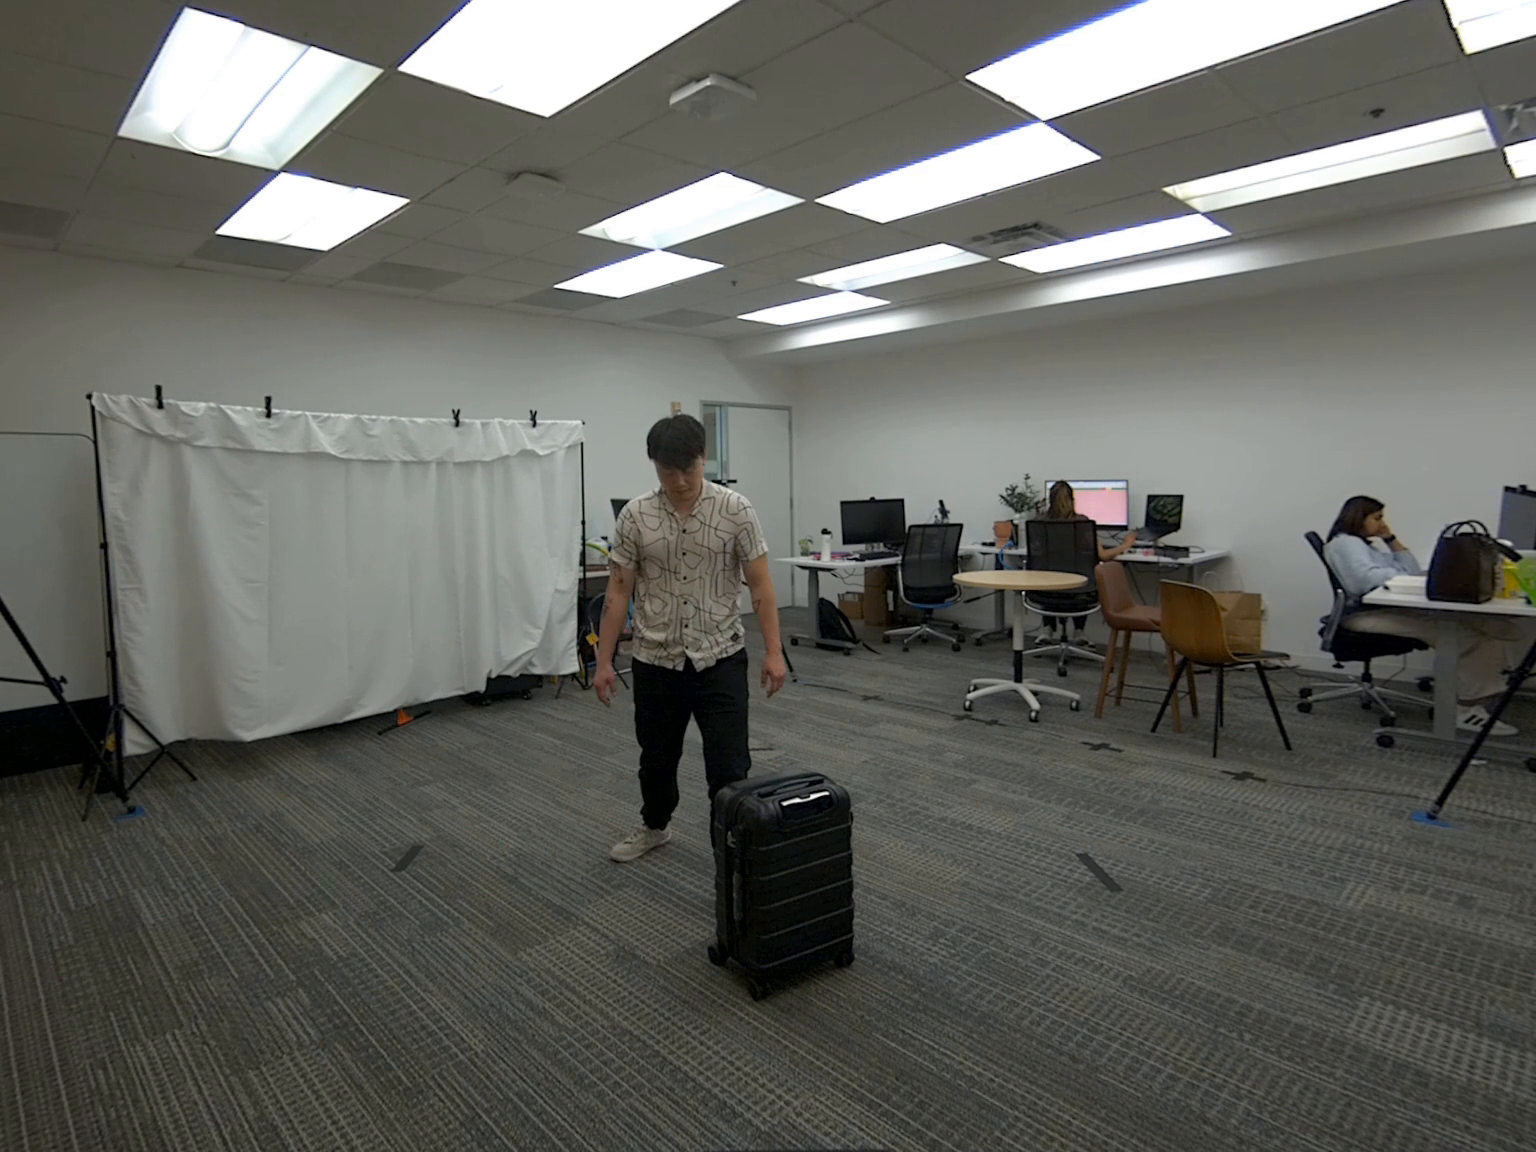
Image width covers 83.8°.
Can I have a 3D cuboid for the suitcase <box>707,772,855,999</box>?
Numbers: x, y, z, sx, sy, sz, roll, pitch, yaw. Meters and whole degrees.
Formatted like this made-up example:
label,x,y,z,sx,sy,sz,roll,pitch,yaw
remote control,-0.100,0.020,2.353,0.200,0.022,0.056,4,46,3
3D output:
label,x,y,z,sx,sy,sz,roll,pitch,yaw
suitcase,0.048,0.846,2.435,0.366,0.547,0.255,-4,5,-33
